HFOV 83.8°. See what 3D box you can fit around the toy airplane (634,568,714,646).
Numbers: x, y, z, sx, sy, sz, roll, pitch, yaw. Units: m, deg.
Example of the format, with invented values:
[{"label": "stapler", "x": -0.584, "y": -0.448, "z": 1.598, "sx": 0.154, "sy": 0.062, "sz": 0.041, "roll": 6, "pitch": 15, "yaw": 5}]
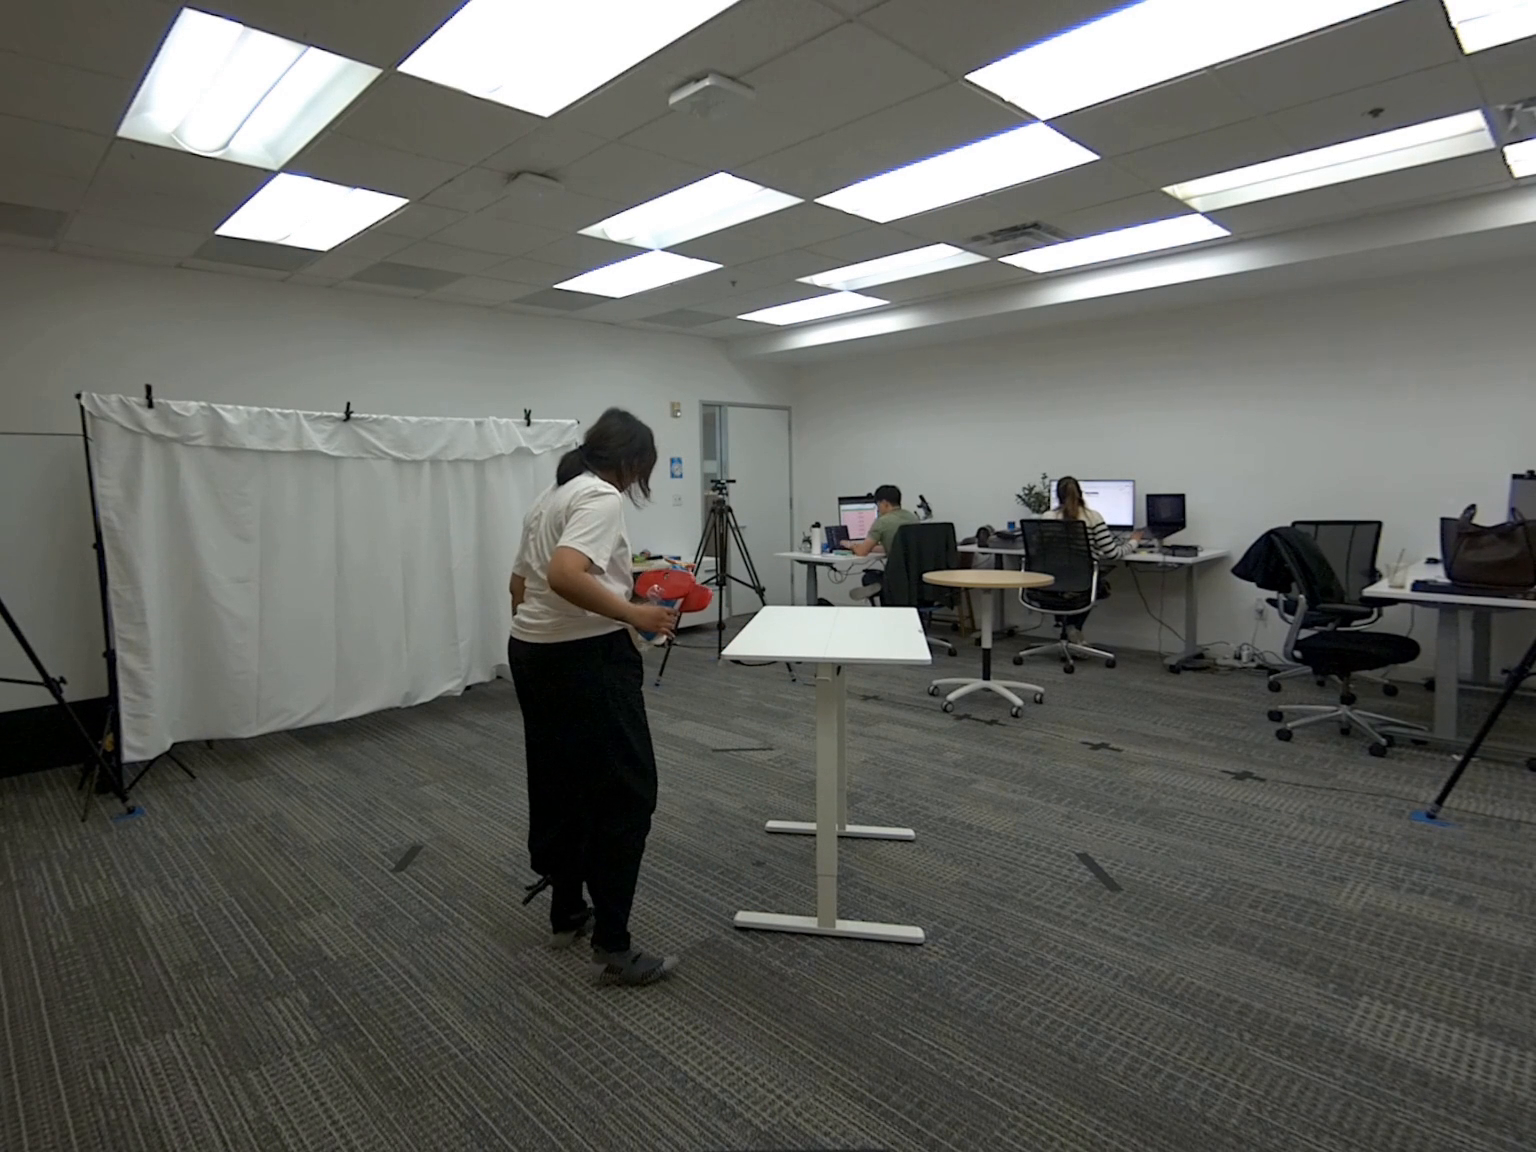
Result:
[{"label": "toy airplane", "x": -0.269, "y": 0.085, "z": 2.496, "sx": 0.254, "sy": 0.151, "sz": 0.264, "roll": -18, "pitch": 35, "yaw": 22}]
